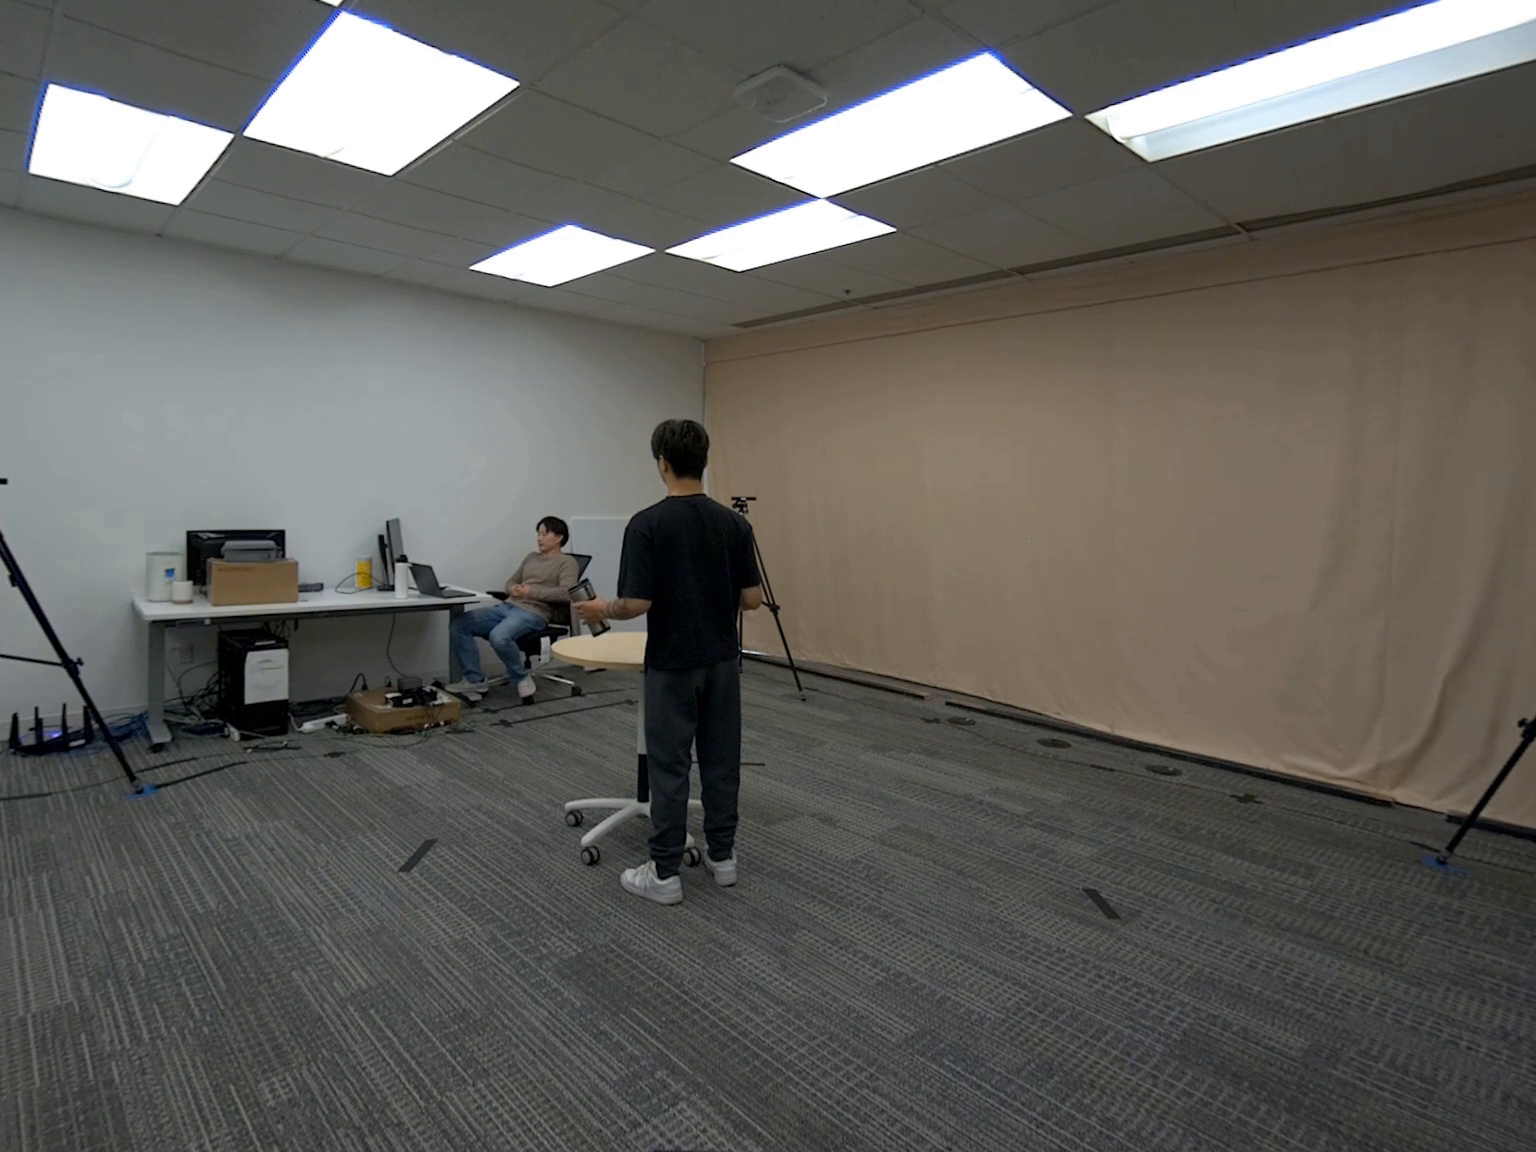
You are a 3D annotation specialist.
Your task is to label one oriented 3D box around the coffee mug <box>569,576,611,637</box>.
[{"bbox_3d":[-0.628,0.105,3.069,0.089,0.202,0.121,-27,3,40],"label":"coffee mug"}]
